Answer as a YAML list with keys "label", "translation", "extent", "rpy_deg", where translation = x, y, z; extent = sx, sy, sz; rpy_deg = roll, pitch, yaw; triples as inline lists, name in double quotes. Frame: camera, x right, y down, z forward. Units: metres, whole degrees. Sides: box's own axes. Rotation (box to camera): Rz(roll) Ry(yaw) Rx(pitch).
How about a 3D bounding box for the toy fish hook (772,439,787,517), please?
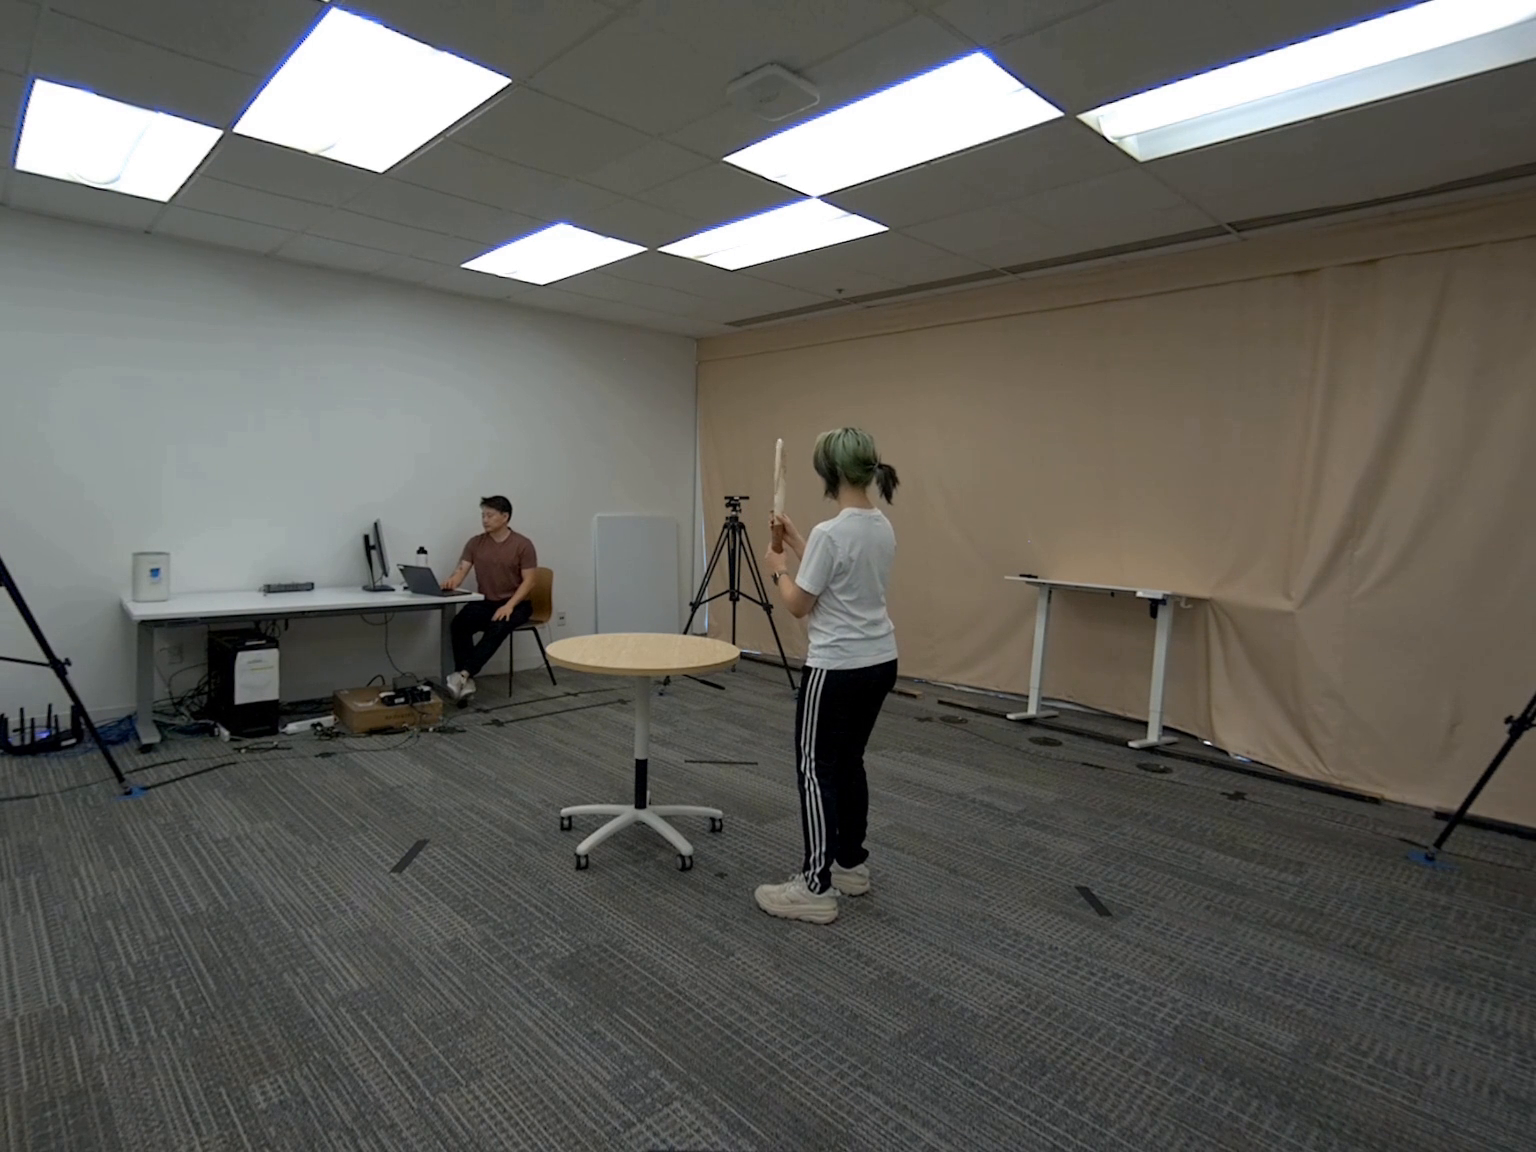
- label: "toy fish hook"
  translation: [0.034, -0.242, 3.033]
  extent: [0.048, 0.506, 0.224]
  rpy_deg: [0, 3, 5]
